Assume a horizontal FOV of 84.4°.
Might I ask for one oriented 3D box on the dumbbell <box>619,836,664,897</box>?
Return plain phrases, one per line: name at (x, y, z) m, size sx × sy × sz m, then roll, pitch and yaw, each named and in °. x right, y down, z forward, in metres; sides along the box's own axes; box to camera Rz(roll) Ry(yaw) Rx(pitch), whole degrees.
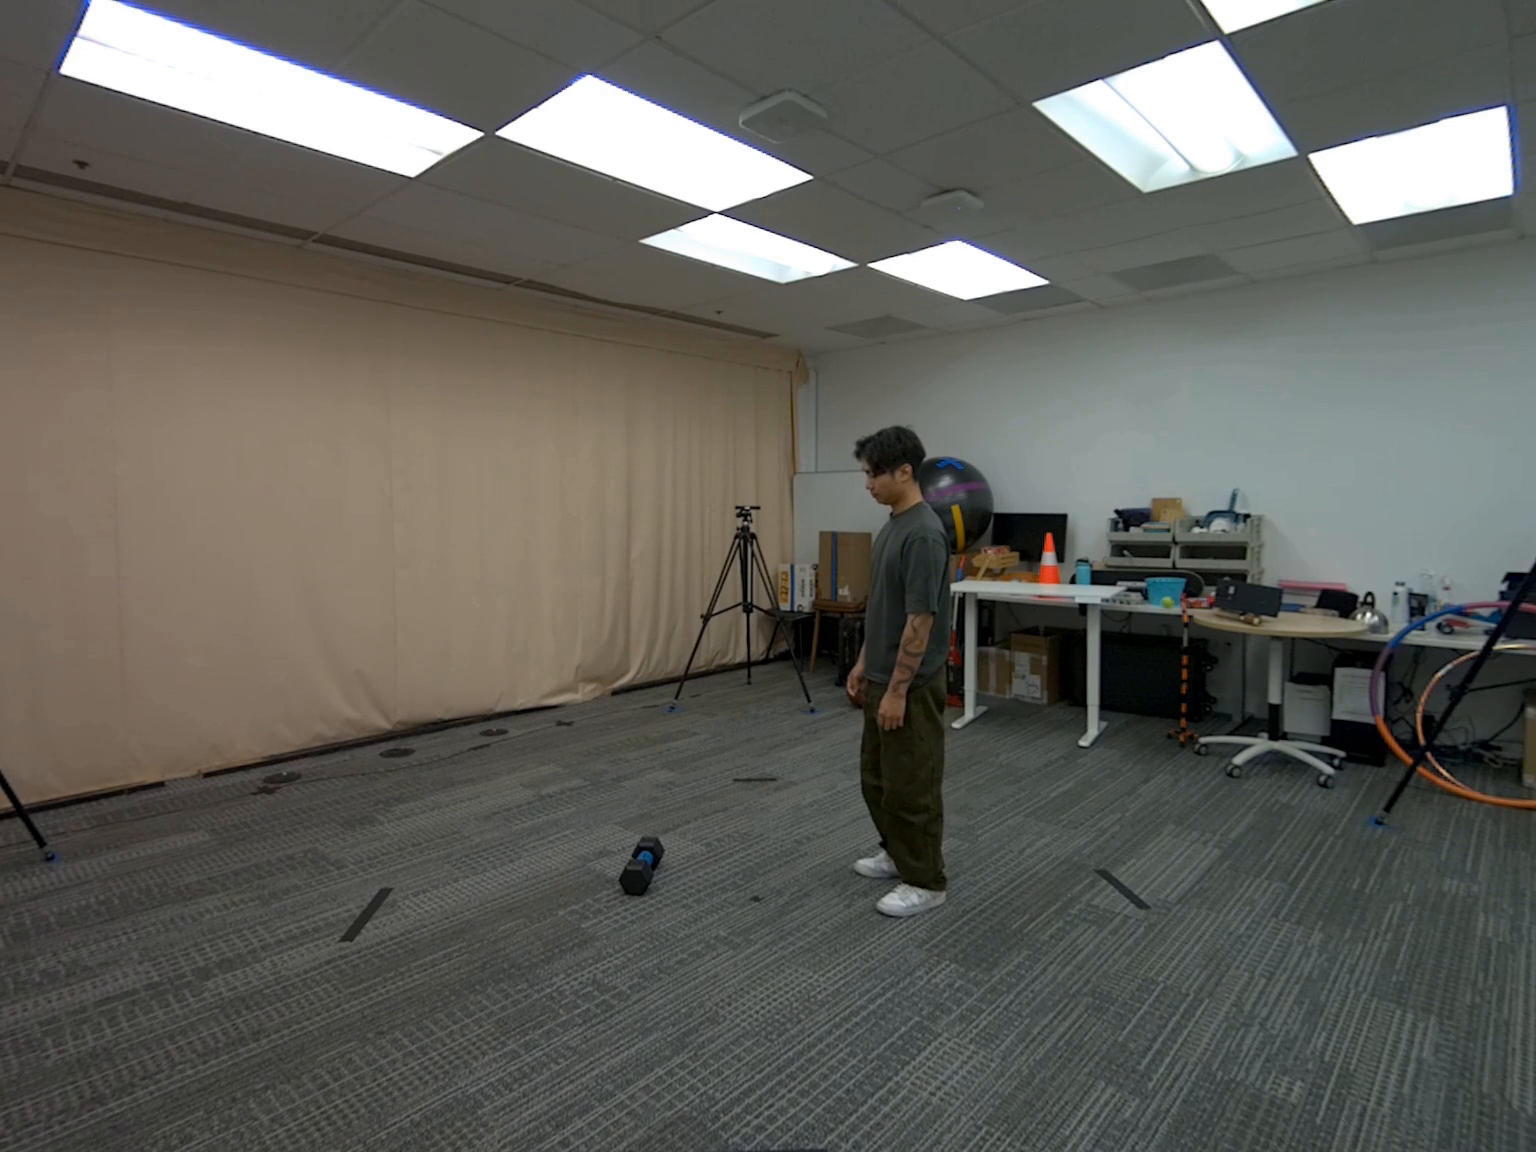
dumbbell at (-0.467, 1.085, 3.149) m, size 0.109 × 0.123 × 0.293 m, roll -30°, pitch 3°, yaw 5°
